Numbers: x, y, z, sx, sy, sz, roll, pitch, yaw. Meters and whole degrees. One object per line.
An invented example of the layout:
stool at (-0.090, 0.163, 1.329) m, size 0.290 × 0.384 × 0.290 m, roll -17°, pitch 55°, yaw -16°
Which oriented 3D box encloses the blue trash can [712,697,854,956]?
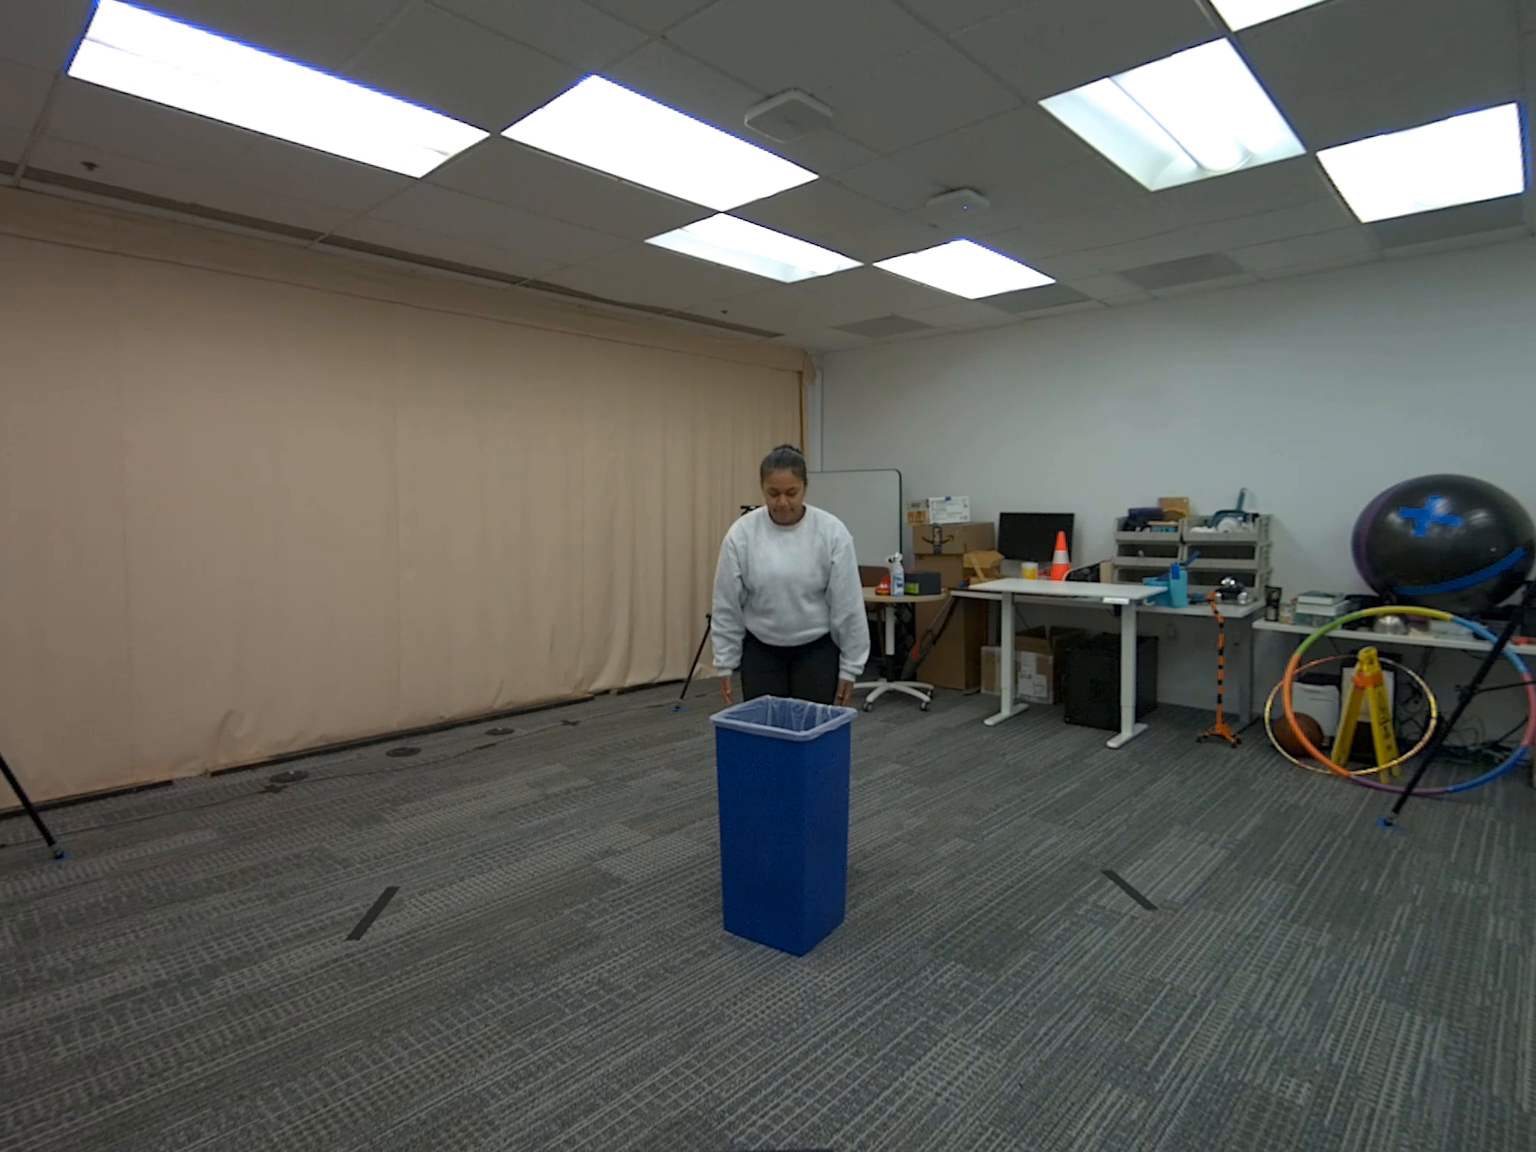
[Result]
blue trash can at (0.050, 0.800, 2.778) m, size 0.385 × 0.712 × 0.367 m, roll 3°, pitch 5°, yaw 32°
